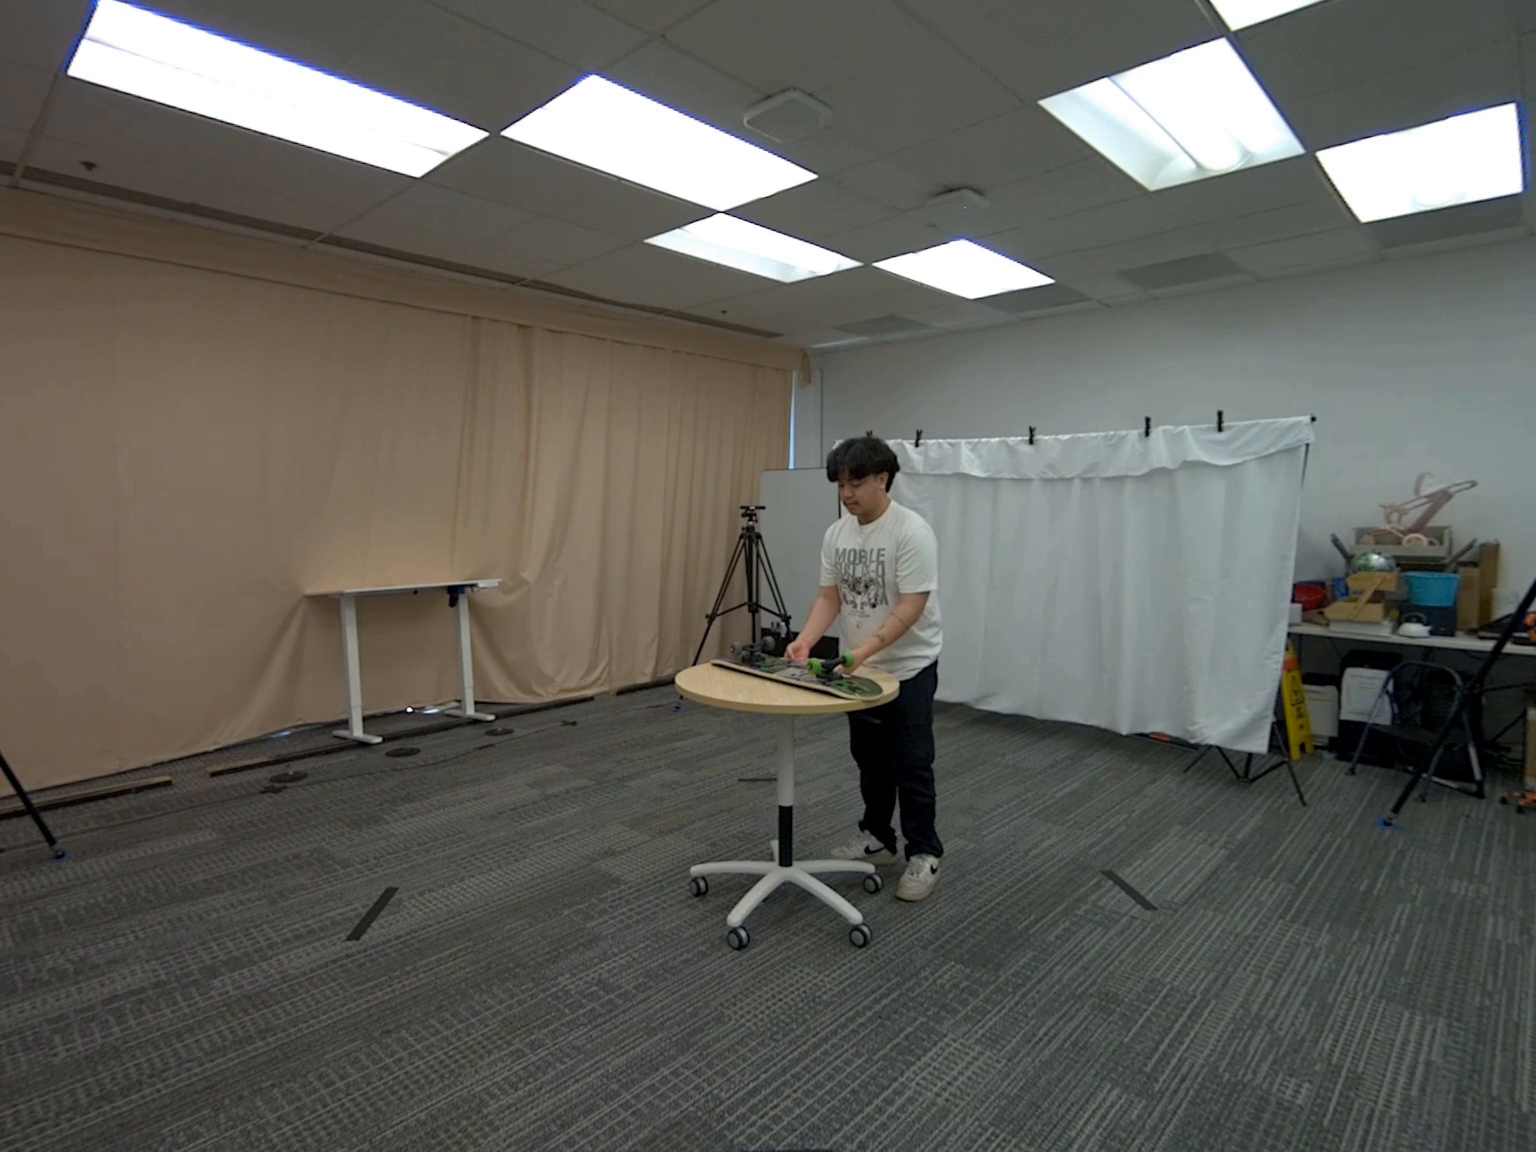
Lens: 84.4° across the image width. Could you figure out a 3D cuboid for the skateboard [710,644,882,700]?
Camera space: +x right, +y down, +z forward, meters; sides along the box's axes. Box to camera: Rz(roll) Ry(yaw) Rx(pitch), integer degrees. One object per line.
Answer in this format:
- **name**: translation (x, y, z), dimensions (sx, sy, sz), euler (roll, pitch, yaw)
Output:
- **skateboard**: translation (0.073, 0.302, 2.909), dimensions (0.188, 0.110, 0.811), euler (-3, 6, -38)
